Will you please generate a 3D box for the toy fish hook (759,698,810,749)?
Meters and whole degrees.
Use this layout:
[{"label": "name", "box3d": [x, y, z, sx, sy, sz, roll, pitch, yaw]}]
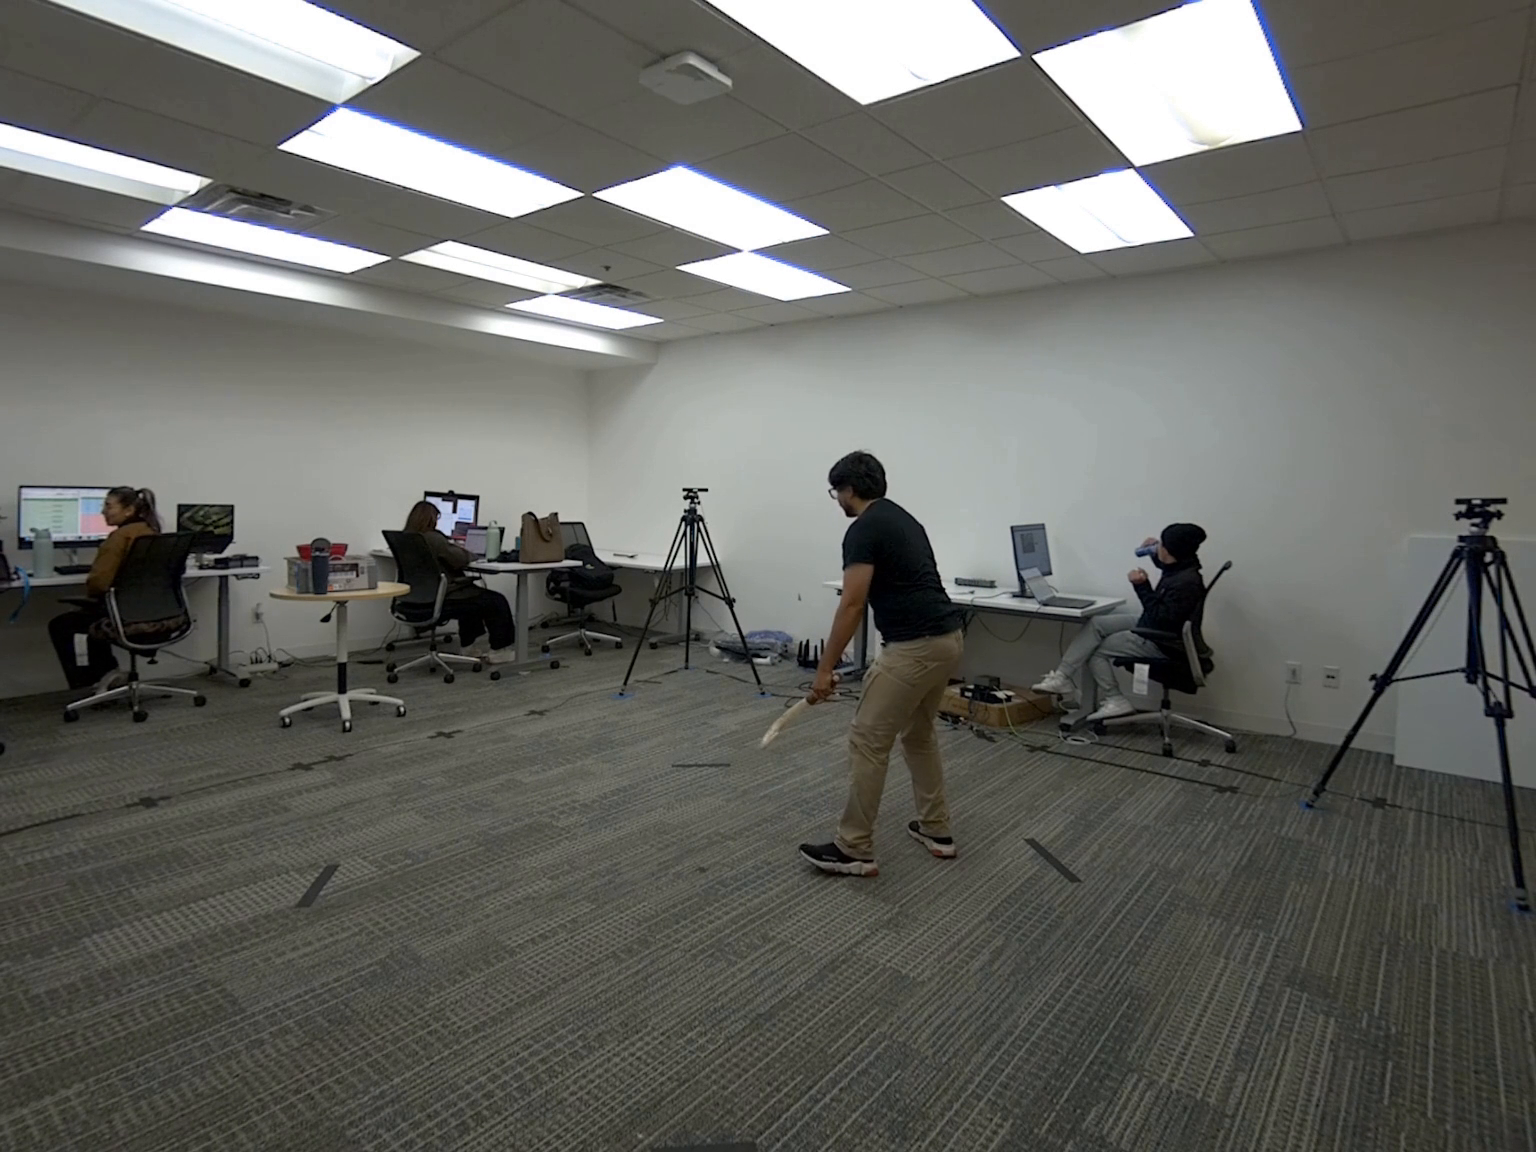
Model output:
[{"label": "toy fish hook", "box3d": [0.101, 0.533, 3.279, 0.506, 0.048, 0.224, -48, 2, 39]}]
